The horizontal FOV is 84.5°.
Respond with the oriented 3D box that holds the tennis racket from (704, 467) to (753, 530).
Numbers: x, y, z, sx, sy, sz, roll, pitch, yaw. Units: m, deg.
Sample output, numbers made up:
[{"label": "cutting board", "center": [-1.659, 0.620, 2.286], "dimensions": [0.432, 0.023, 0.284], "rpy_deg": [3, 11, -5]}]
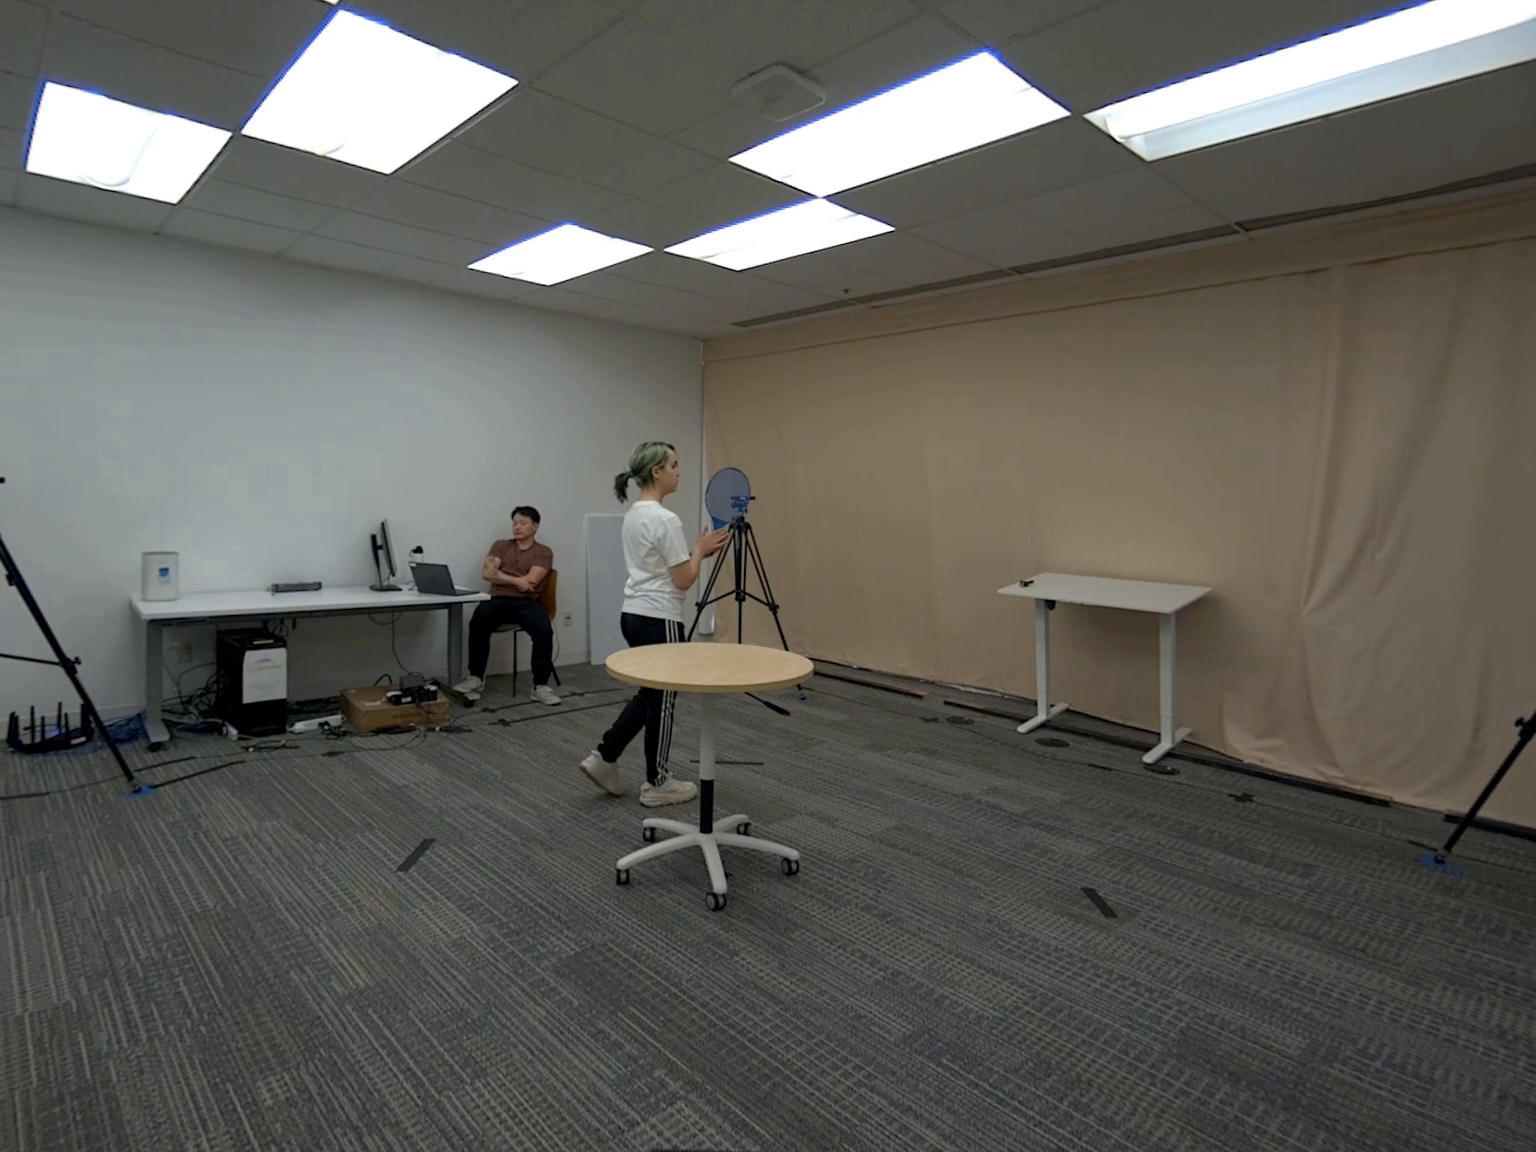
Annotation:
[{"label": "tennis racket", "center": [-0.231, -0.304, 3.923], "dimensions": [0.211, 0.434, 0.032], "rpy_deg": [24, -9, -11]}]
